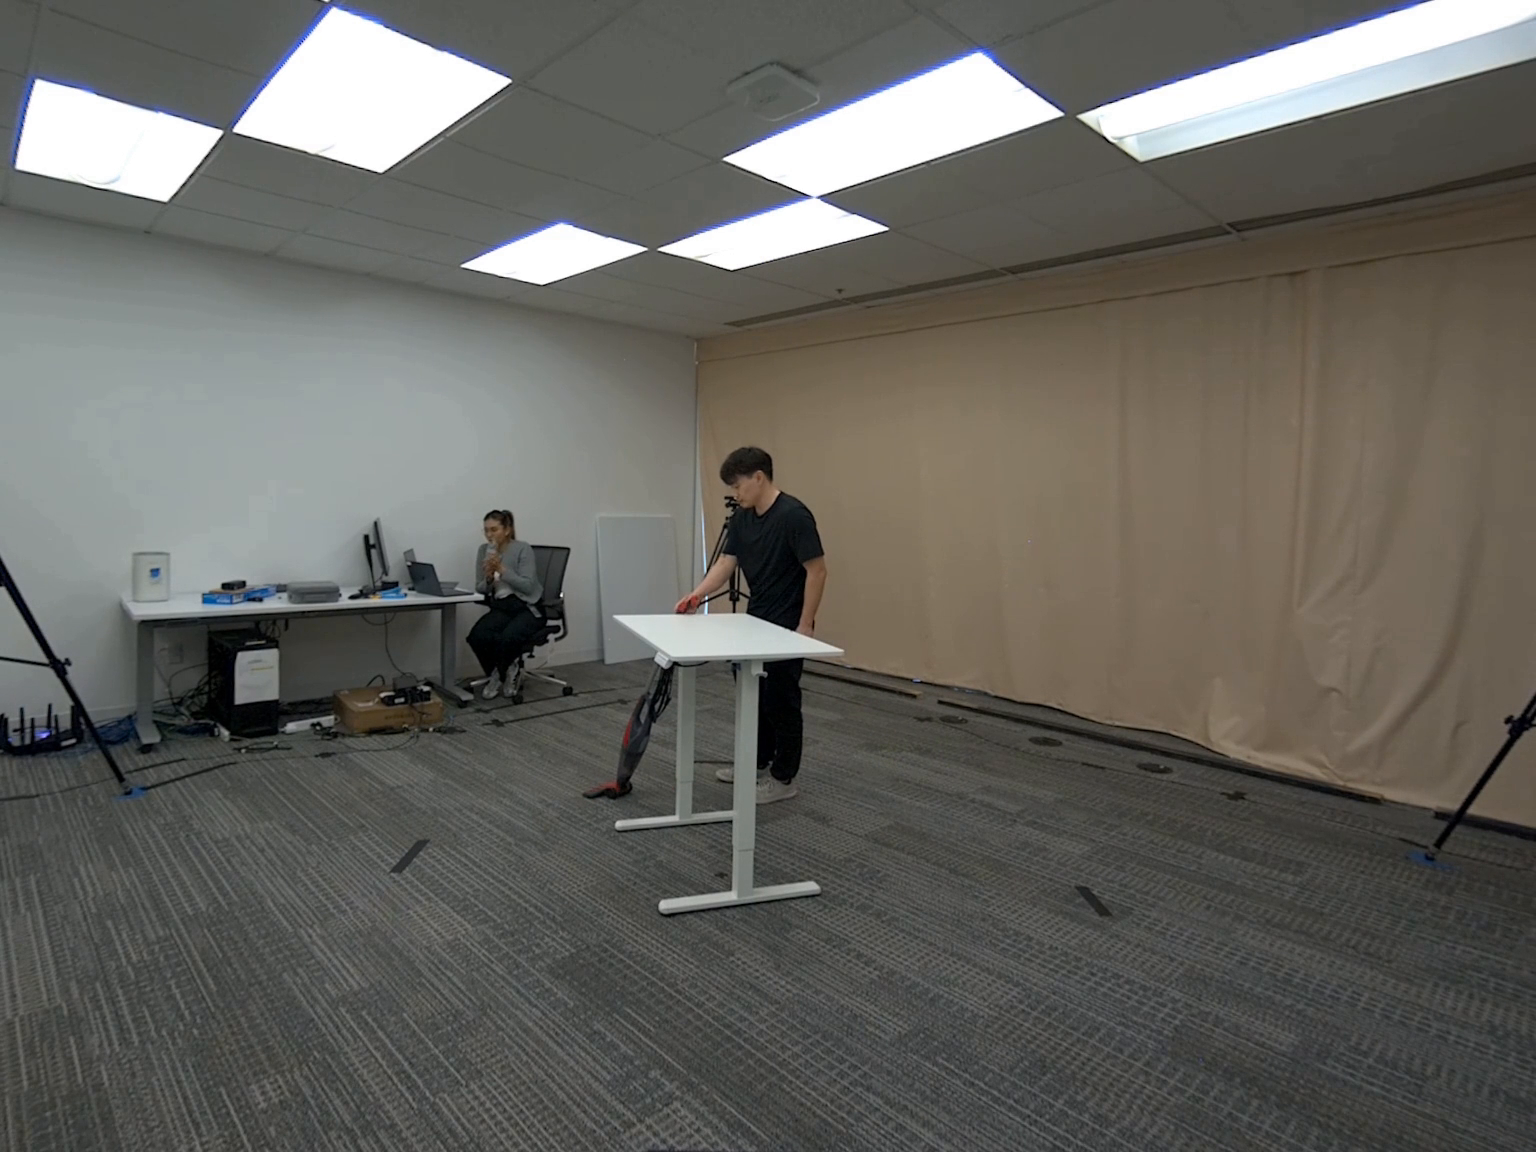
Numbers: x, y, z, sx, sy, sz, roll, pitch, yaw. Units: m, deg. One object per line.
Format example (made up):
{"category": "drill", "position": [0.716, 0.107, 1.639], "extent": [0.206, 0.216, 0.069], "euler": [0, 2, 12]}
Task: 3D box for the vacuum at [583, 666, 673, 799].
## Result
{"category": "vacuum", "position": [-0.539, 0.560, 3.802], "extent": [0.148, 1.043, 0.247], "euler": [32, 18, 28]}
